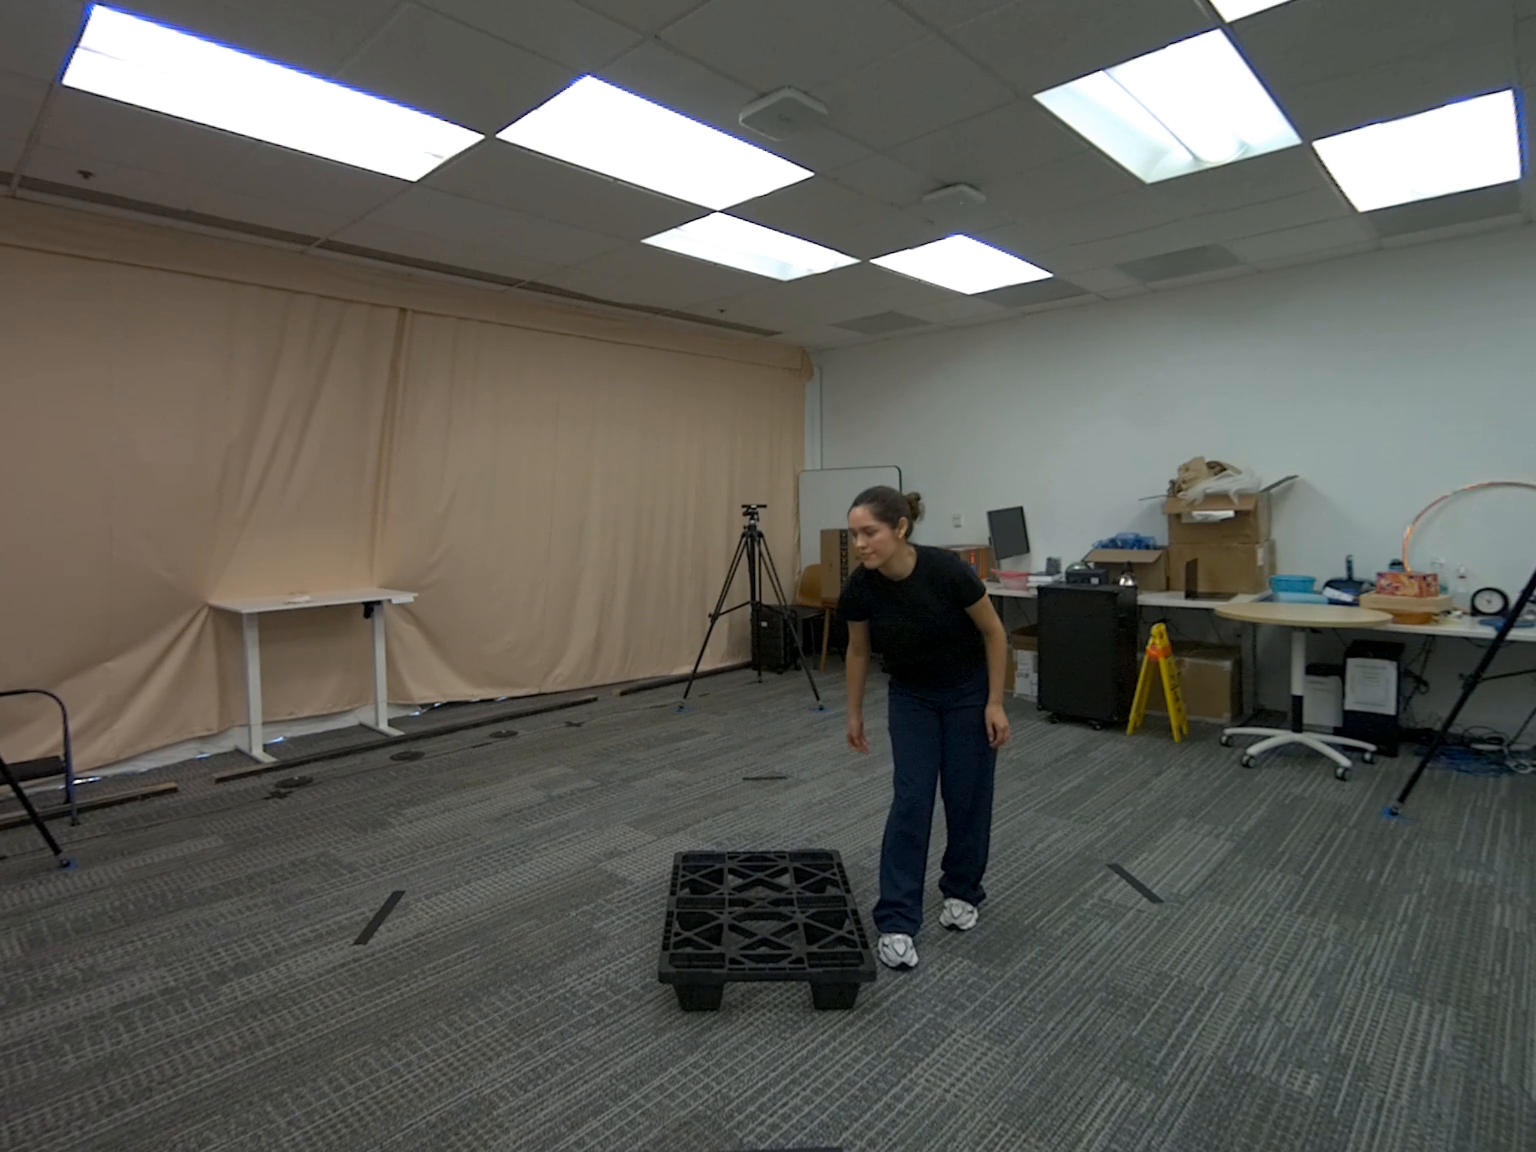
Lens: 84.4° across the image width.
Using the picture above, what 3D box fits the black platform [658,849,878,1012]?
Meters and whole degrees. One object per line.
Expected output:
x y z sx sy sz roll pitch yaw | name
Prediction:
-0.005 1.099 2.676 0.605 0.143 0.808 -2 5 -2 | black platform
